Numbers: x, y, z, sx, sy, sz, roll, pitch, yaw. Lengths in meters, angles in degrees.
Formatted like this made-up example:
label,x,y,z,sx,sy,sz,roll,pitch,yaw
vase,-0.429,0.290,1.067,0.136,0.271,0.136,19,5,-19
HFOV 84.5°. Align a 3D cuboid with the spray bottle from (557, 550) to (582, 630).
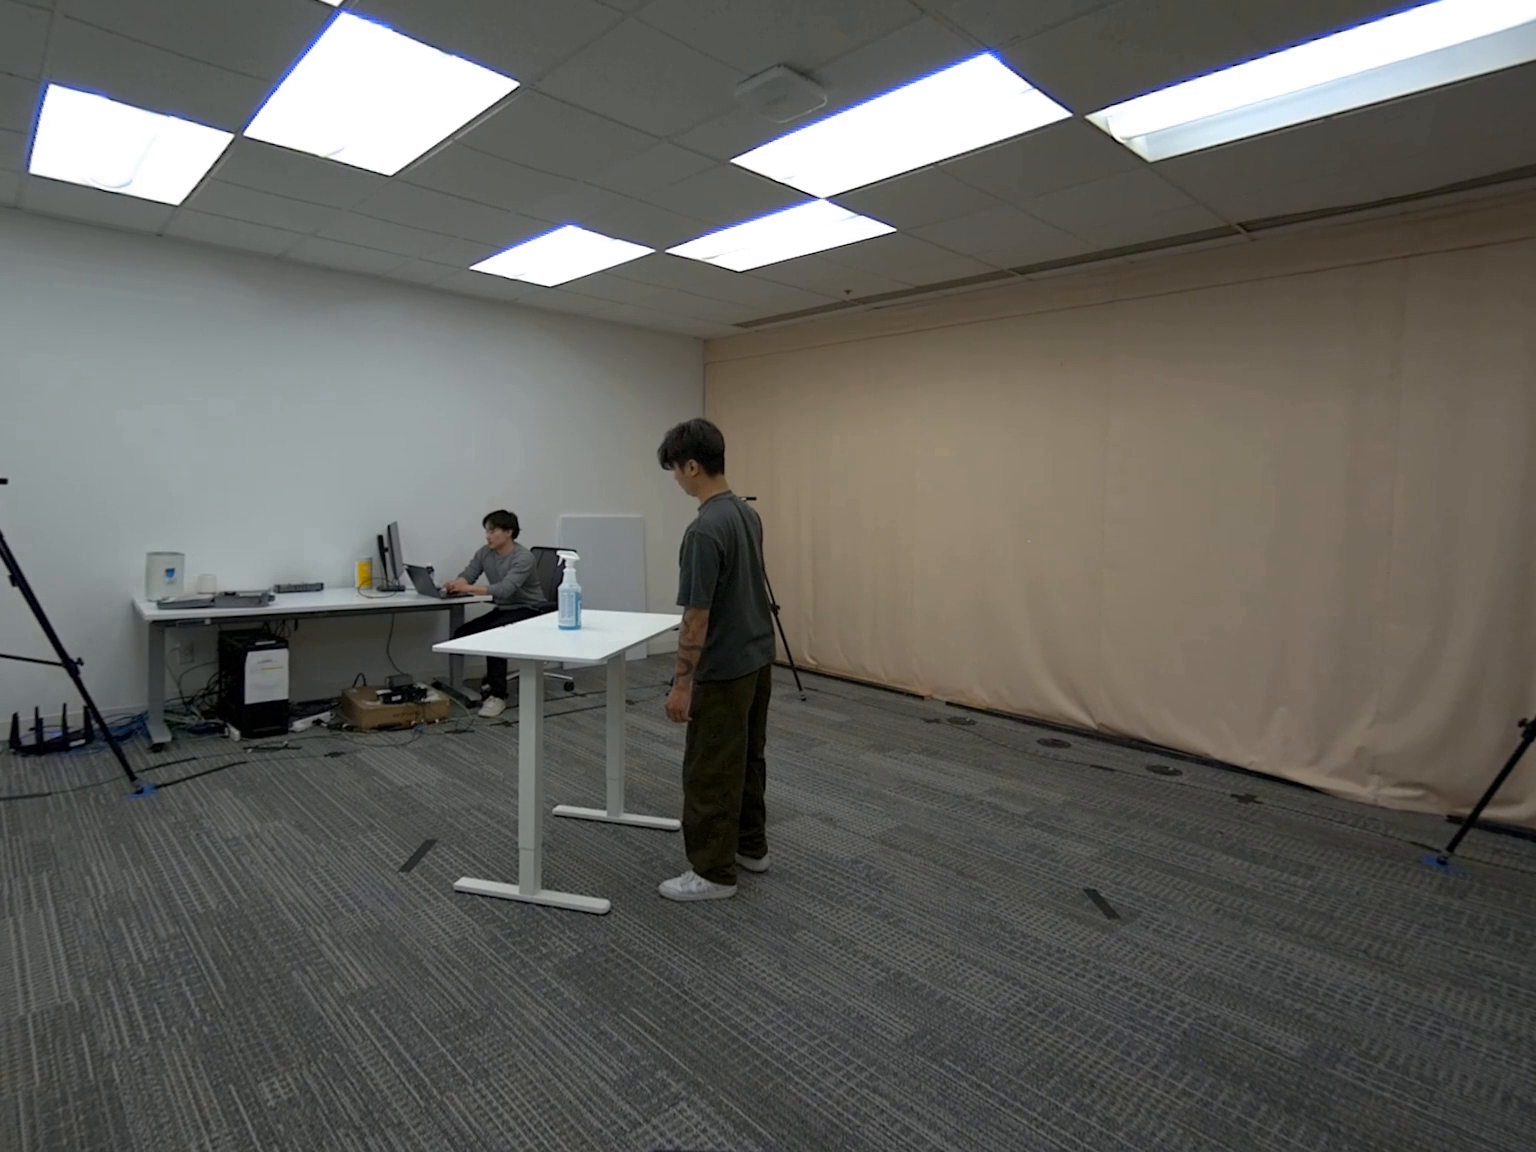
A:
label,x,y,z,sx,sy,sz,roll,pitch,yaw
spray bottle,-0.758,0.054,3.211,0.092,0.296,0.085,6,8,39
